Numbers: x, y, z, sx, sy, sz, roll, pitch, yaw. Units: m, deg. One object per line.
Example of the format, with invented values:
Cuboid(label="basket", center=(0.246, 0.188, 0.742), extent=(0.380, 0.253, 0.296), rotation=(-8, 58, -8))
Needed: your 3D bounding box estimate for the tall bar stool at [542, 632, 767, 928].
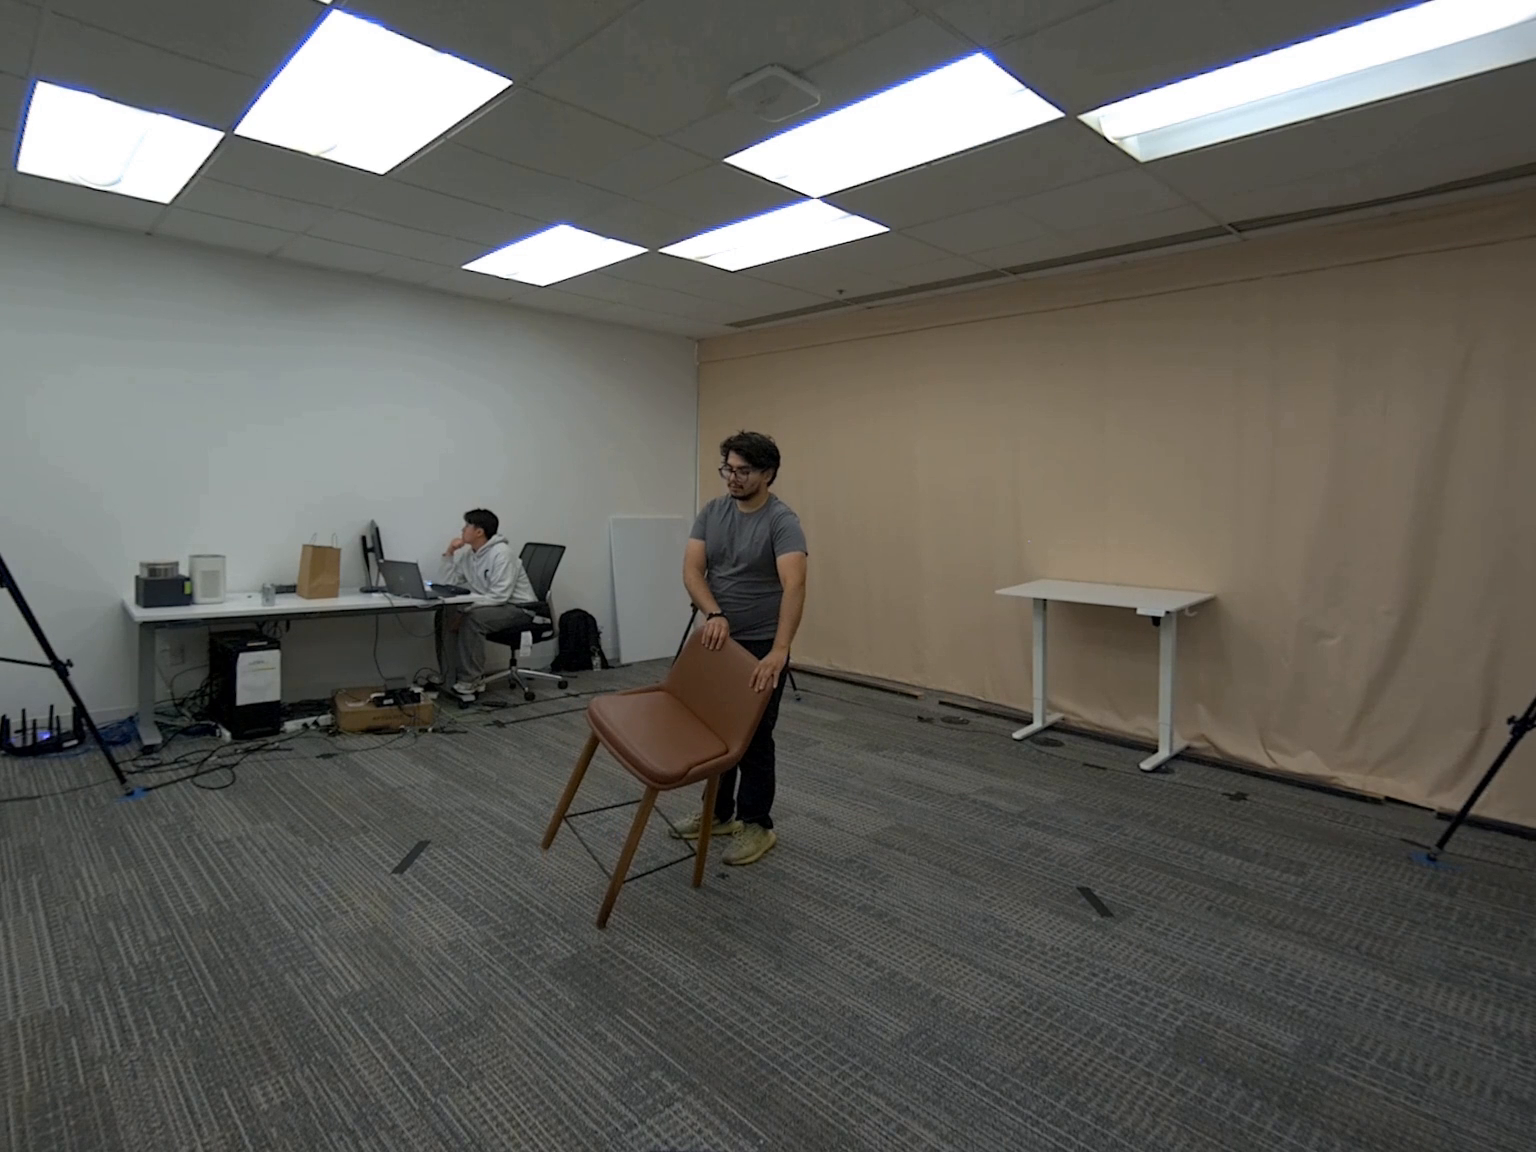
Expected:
Cuboid(label="tall bar stool", center=(-0.385, 0.655, 2.847), extent=(0.456, 0.883, 0.471), rotation=(3, 24, -45))
